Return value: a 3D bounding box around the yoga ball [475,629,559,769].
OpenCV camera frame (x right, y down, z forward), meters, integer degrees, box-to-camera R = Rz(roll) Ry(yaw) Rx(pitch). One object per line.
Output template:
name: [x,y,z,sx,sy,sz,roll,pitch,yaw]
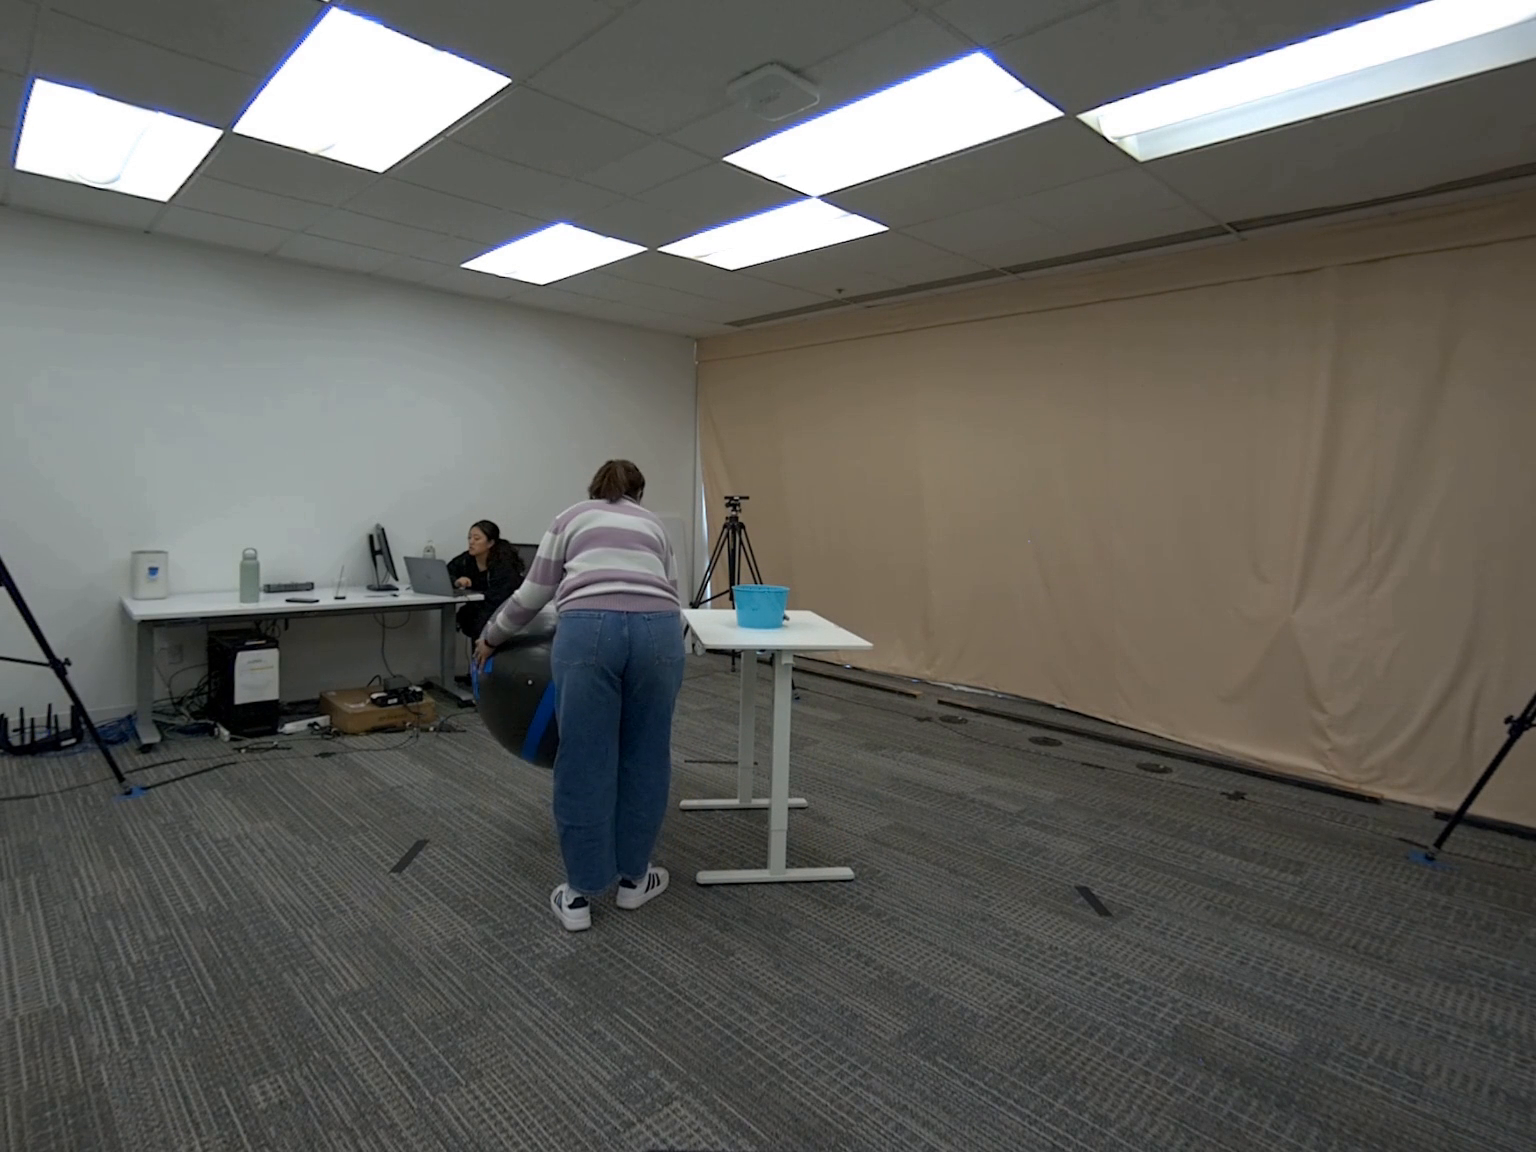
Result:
yoga ball: [-0.784,0.383,3.319,0.757,0.756,0.761,1,4,-1]
